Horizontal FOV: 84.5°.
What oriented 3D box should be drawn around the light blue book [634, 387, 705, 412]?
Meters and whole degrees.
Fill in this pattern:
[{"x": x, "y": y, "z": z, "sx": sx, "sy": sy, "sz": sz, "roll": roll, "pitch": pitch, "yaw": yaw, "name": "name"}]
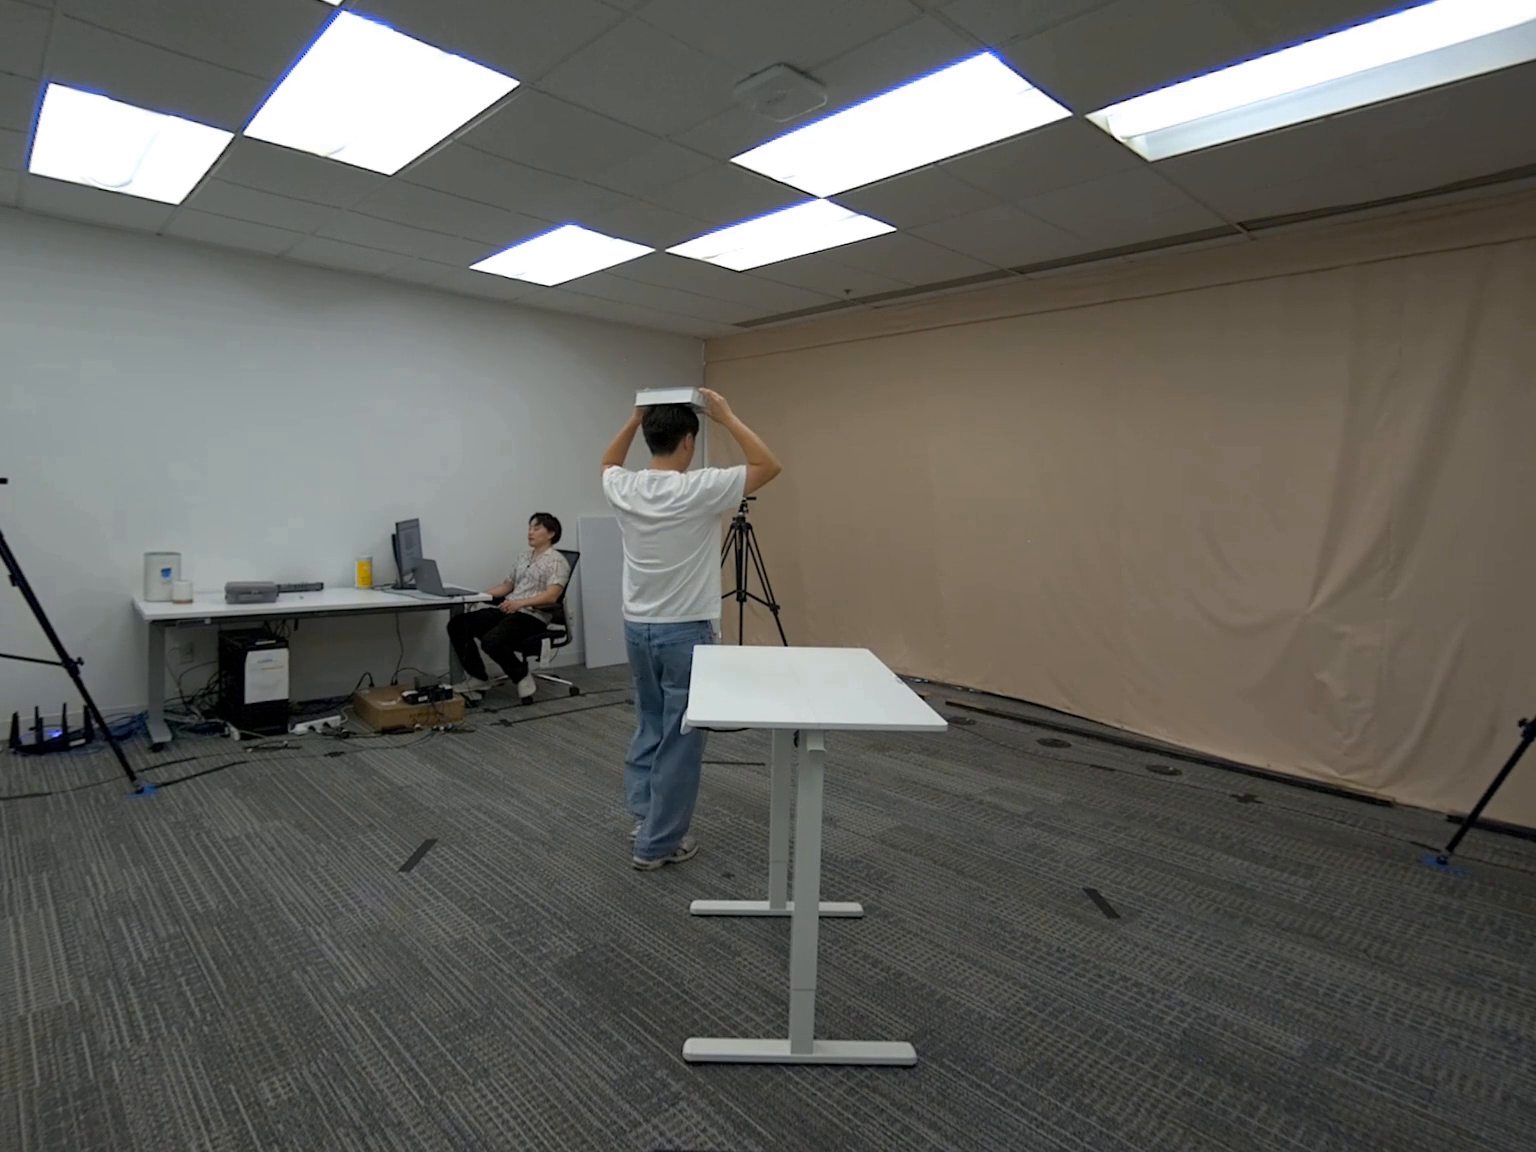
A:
[{"x": -0.359, "y": -0.662, "z": 3.215, "sx": 0.267, "sy": 0.059, "sz": 0.187, "roll": 3, "pitch": -2, "yaw": 30, "name": "light blue book"}]
